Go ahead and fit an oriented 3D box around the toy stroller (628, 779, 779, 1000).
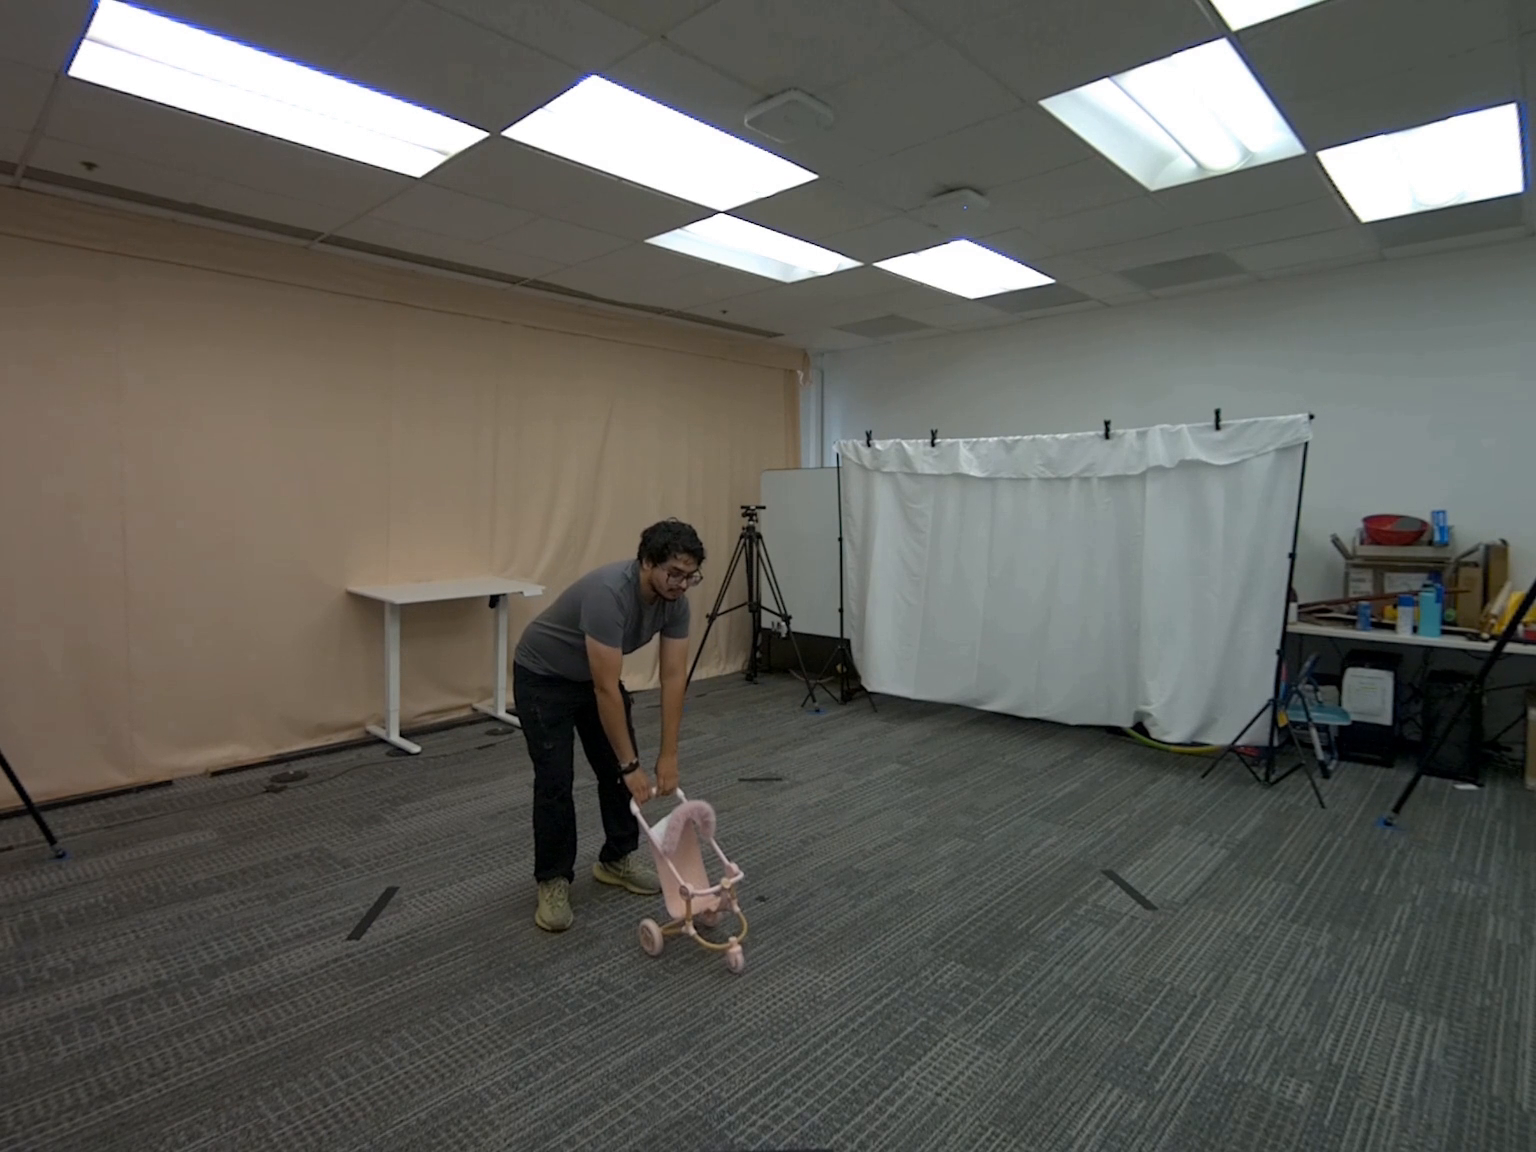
[{"bbox_3d":[-0.231,0.941,2.633,0.273,0.537,0.350,-5,-6,-40],"label":"toy stroller"}]
